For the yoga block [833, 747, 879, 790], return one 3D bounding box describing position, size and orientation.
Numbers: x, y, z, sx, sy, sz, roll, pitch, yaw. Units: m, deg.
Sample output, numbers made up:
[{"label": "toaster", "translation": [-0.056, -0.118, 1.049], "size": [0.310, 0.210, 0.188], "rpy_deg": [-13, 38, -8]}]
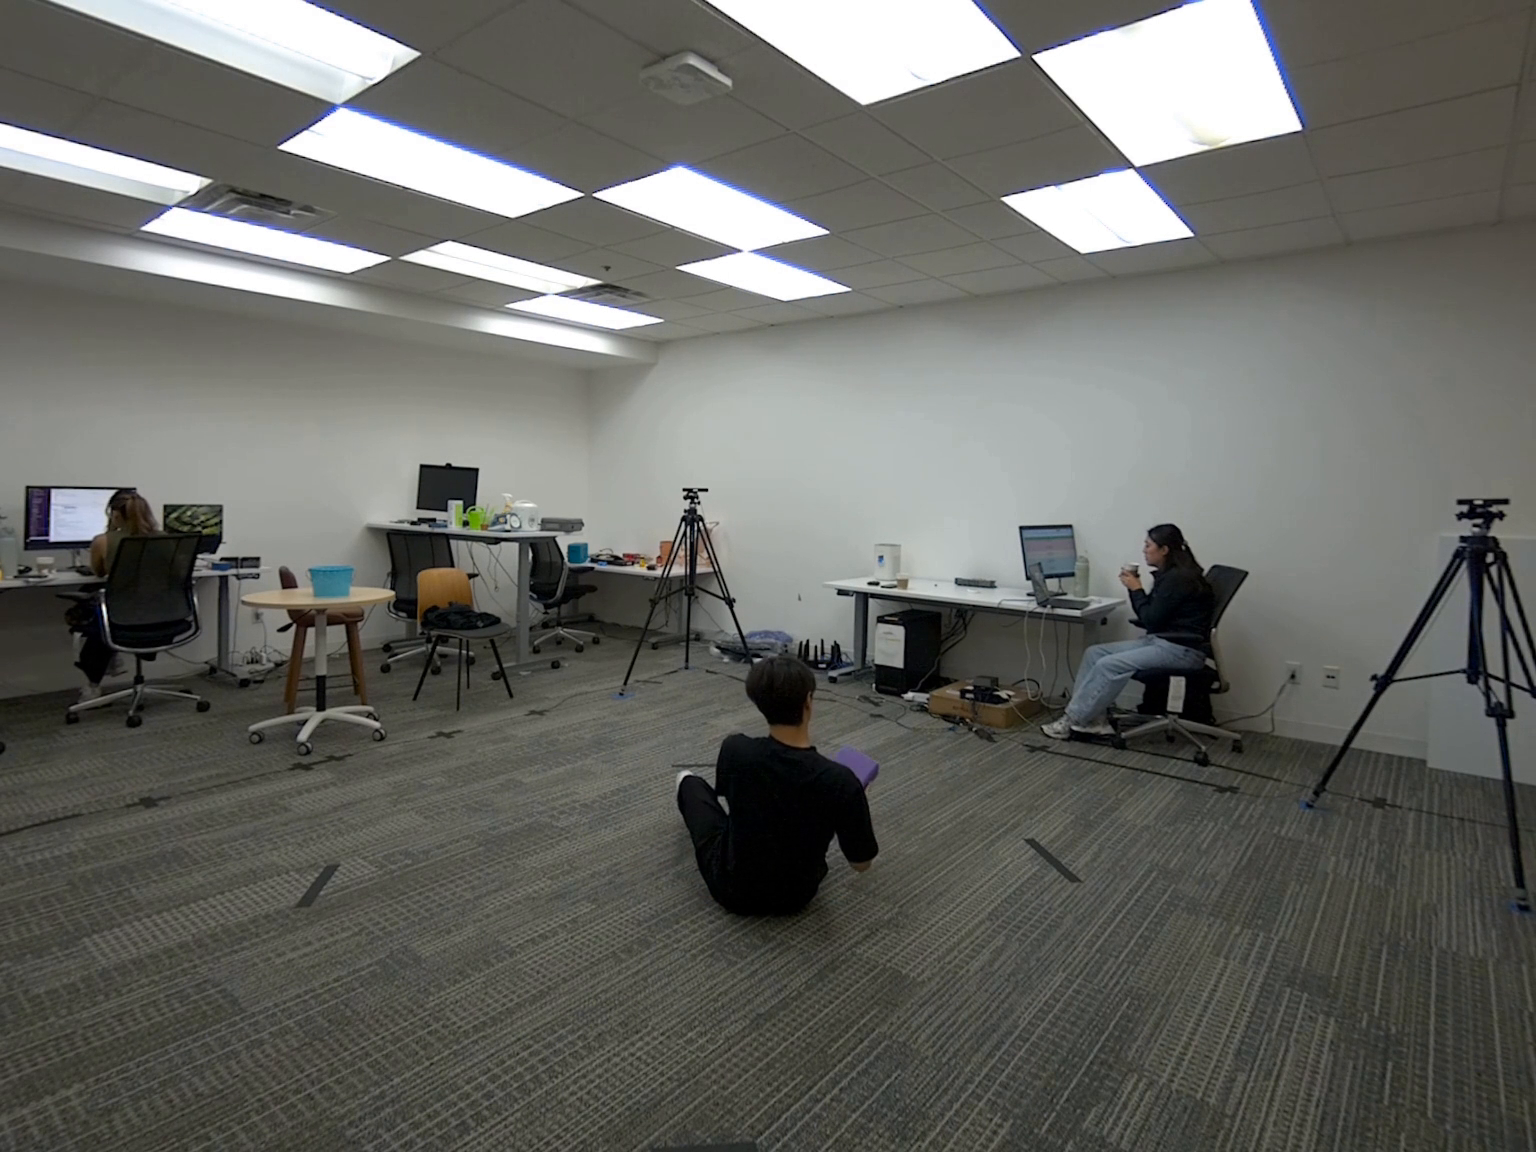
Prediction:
[{"label": "yoga block", "translation": [0.271, 0.725, 3.046], "size": [0.154, 0.074, 0.228], "rpy_deg": [23, 48, 29]}]
